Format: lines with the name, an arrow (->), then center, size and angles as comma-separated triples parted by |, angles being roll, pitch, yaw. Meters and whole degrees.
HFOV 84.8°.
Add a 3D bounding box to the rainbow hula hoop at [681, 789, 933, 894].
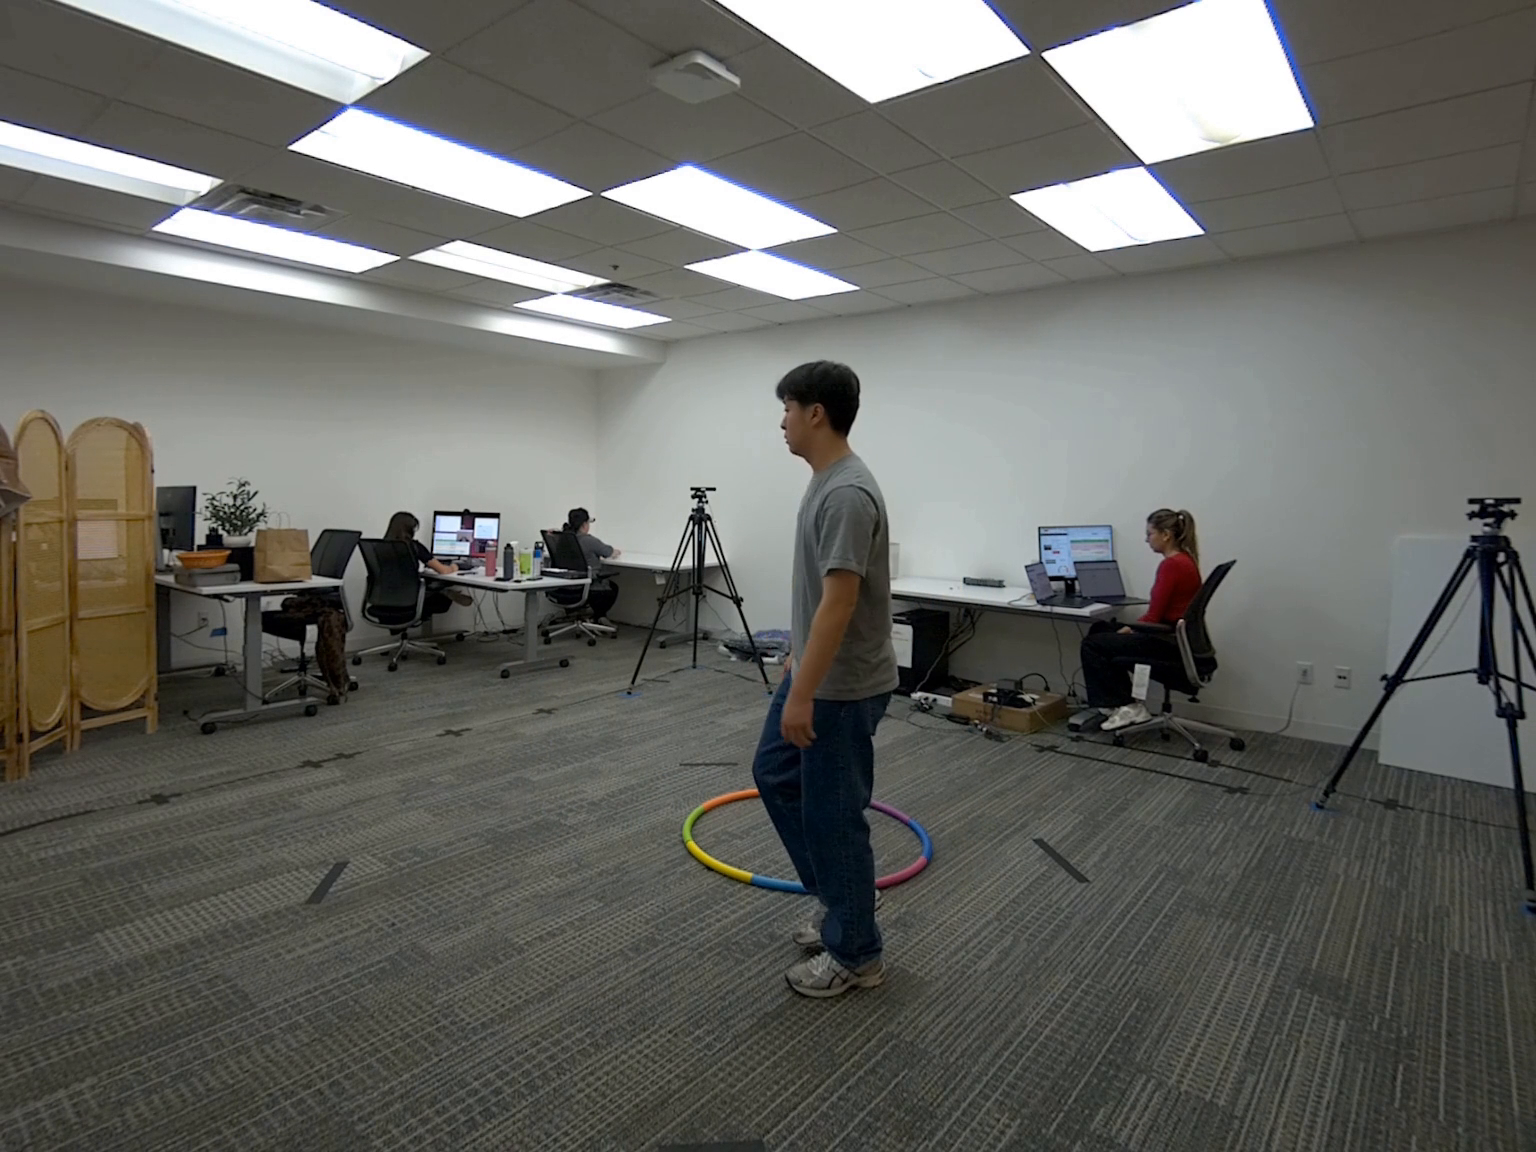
rainbow hula hoop -> 0.137, 1.016, 3.399 | 0.978, 0.035, 0.984 | 1, 6, -2
